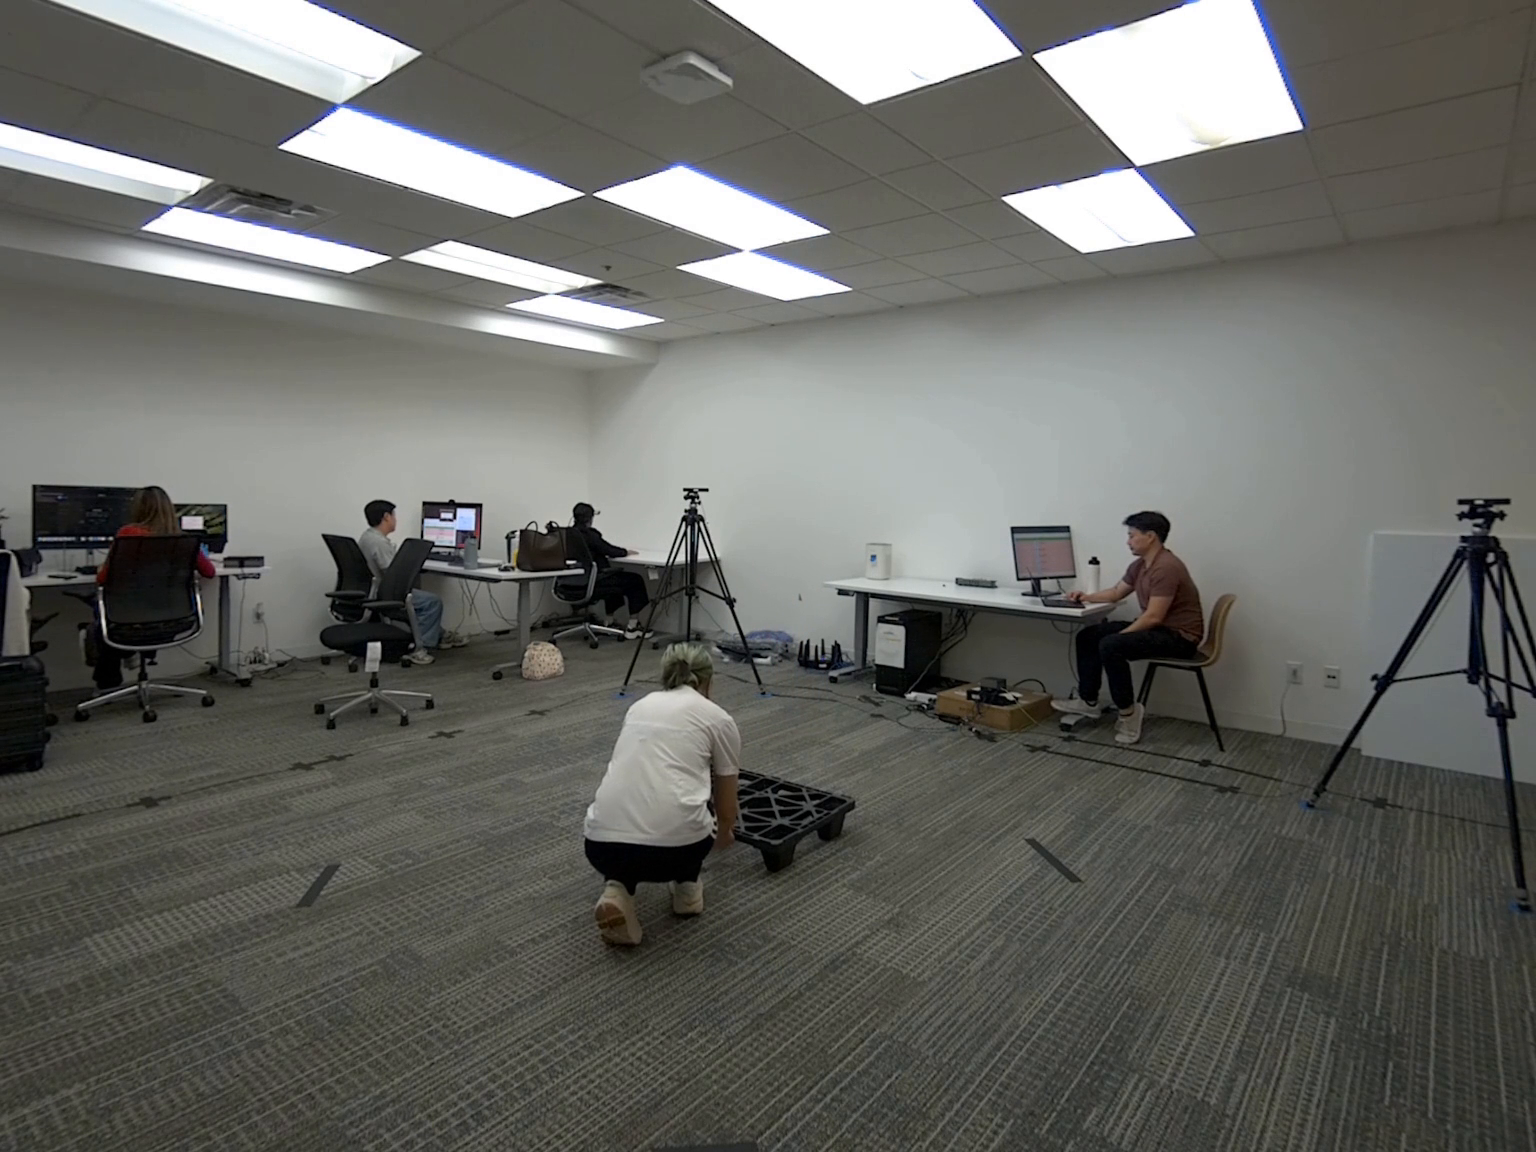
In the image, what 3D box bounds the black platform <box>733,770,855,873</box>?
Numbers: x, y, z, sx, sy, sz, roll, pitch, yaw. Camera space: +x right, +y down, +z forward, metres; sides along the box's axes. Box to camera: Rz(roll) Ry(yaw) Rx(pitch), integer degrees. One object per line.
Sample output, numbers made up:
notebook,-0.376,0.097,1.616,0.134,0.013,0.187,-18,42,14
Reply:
black platform,-0.135,0.968,3.491,0.832,0.143,0.588,5,7,36
